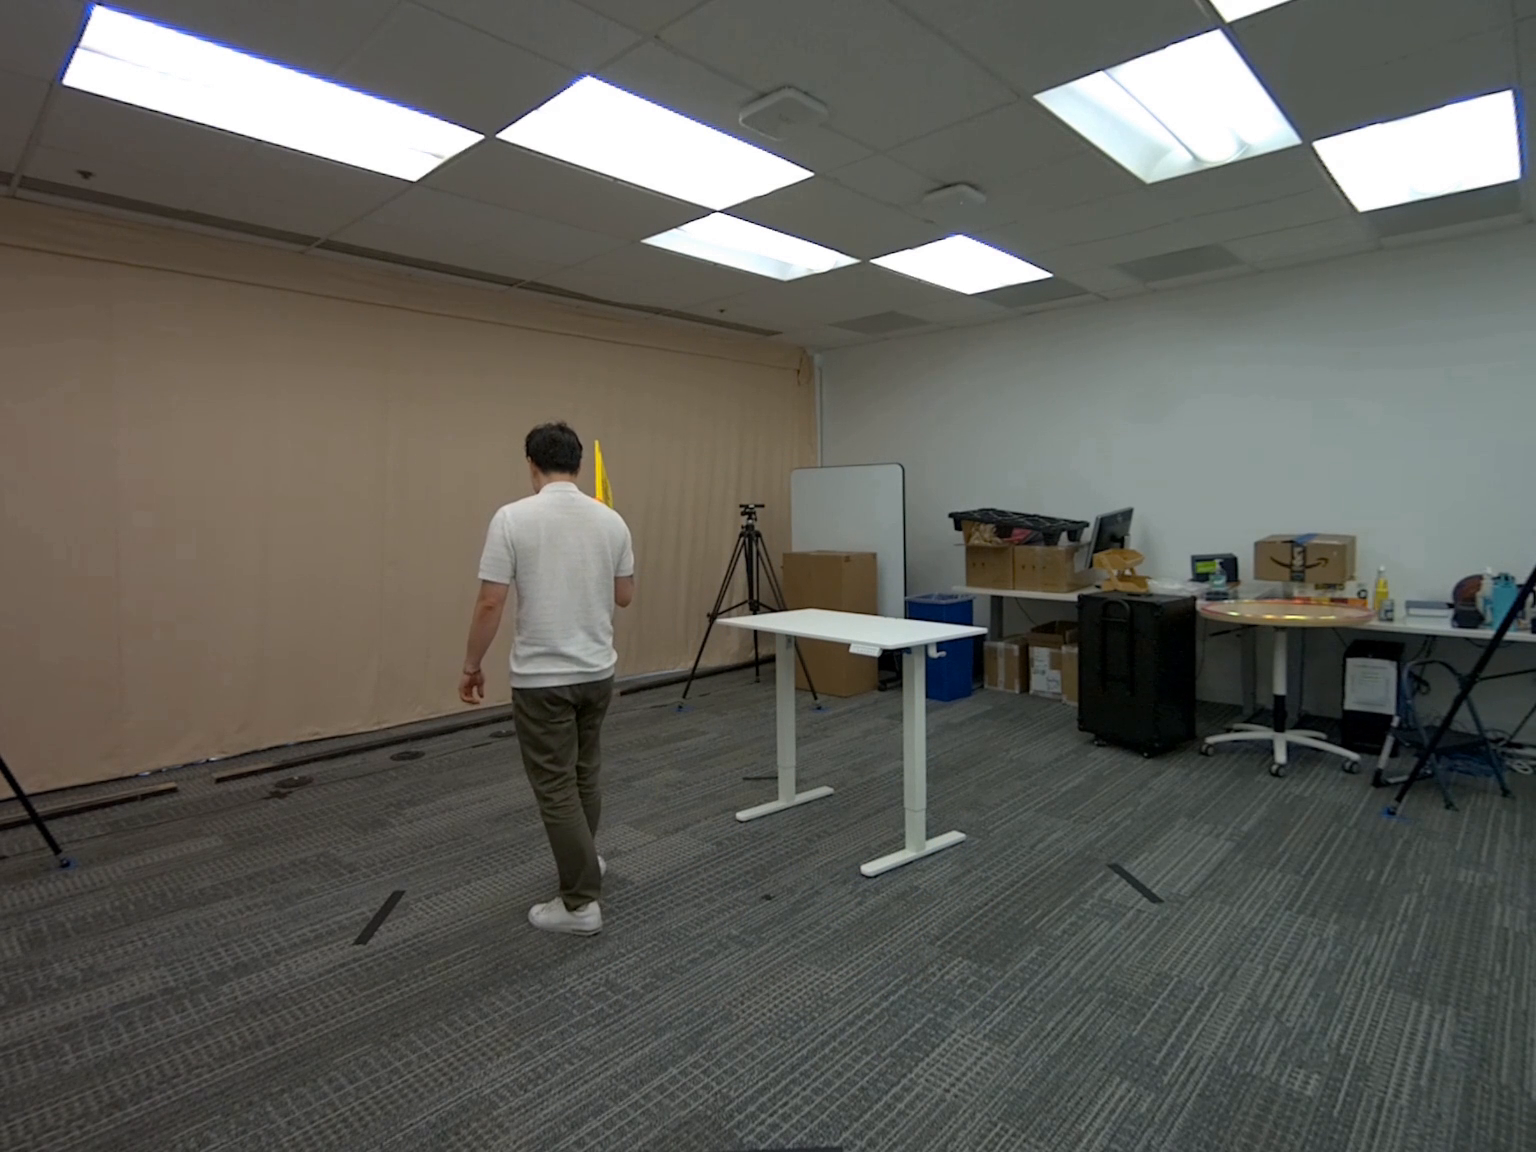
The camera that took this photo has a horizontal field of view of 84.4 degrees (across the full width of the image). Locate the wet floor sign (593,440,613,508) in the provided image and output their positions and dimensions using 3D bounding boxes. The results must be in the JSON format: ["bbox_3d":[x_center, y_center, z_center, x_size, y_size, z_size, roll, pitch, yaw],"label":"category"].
[{"bbox_3d":[-0.744,-0.280,3.466,0.287,0.276,0.667,-19,36,-13],"label":"wet floor sign"}]
